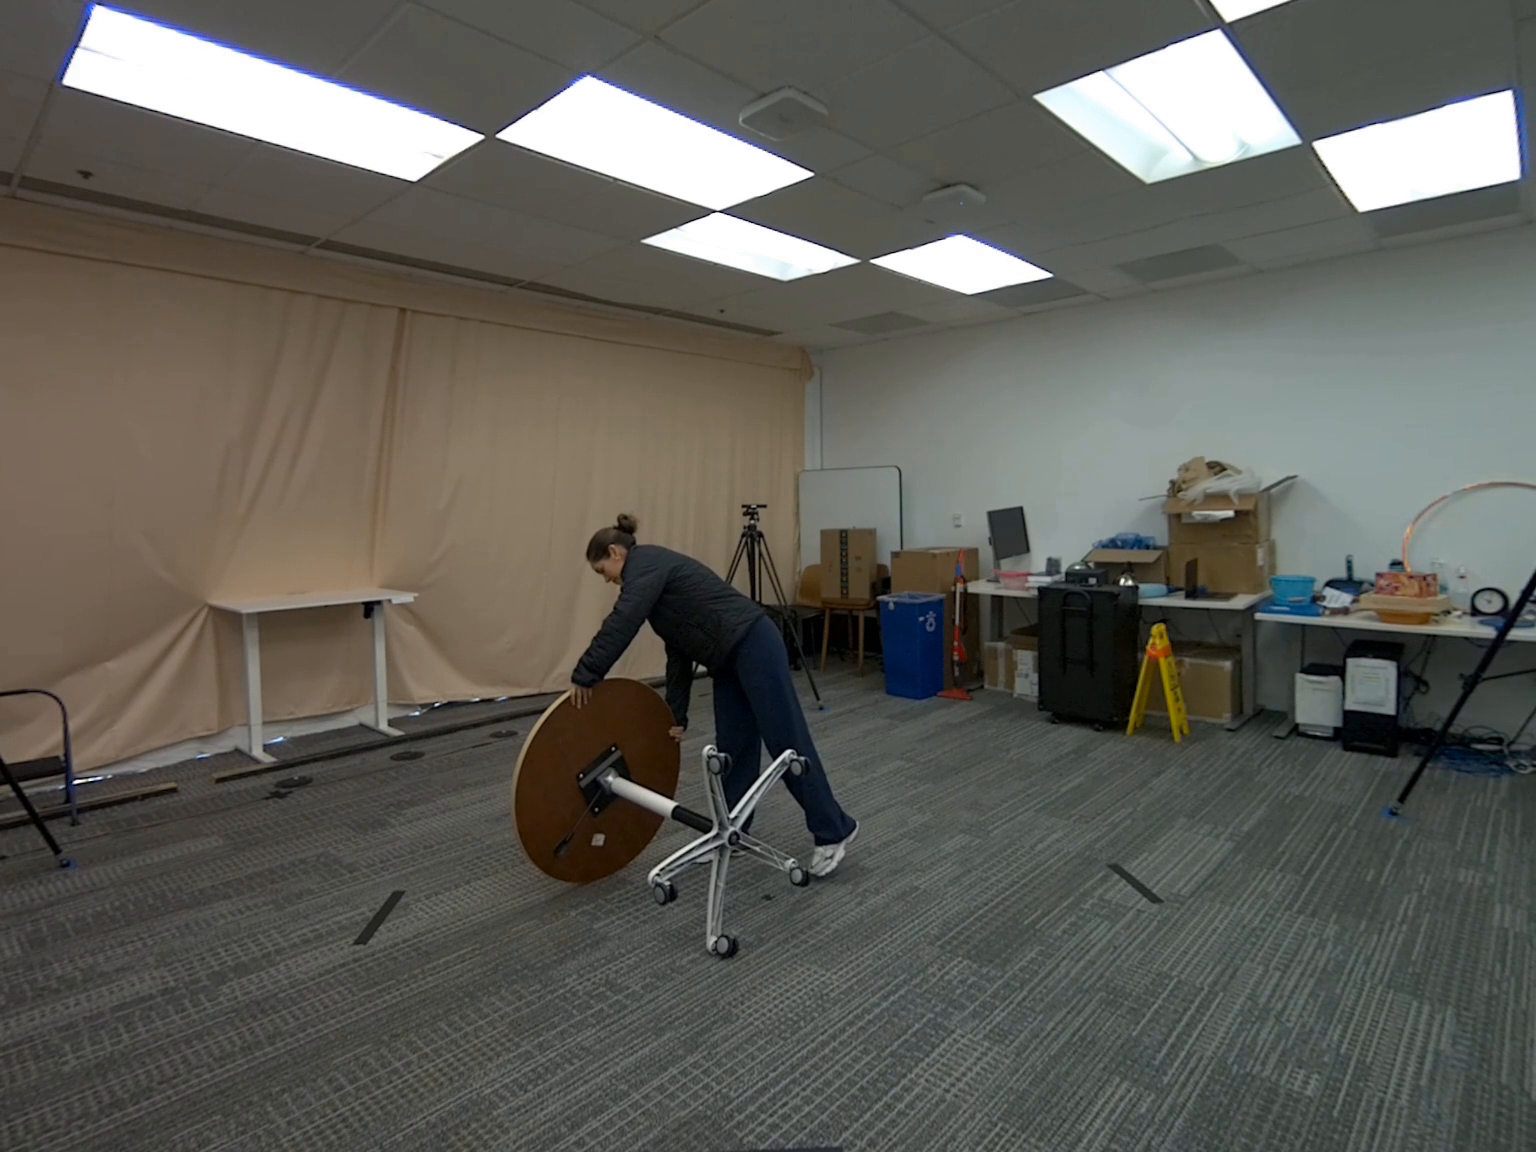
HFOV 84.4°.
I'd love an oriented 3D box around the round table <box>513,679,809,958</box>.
[{"bbox_3d":[-0.323,0.789,2.883,0.813,0.783,0.761,5,7,43],"label":"round table"}]
